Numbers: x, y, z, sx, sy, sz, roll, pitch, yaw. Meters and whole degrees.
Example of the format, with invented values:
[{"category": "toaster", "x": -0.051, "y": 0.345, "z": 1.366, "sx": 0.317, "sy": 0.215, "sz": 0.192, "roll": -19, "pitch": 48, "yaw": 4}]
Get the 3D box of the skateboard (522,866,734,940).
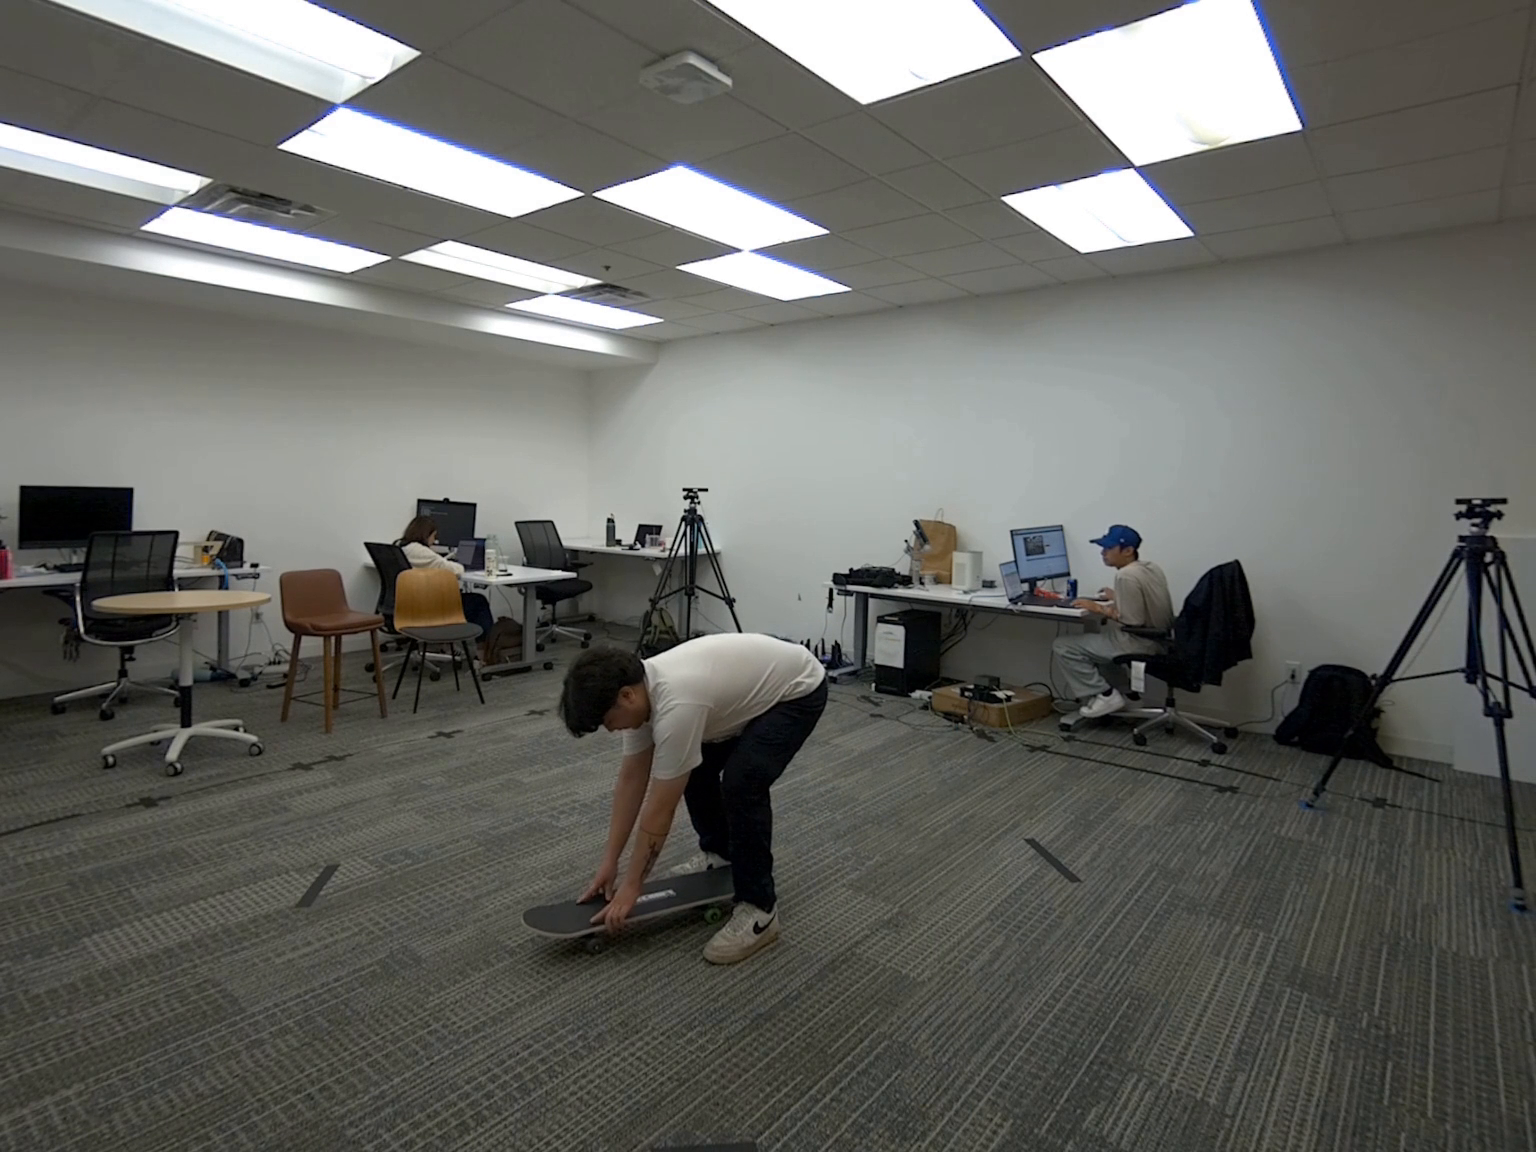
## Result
[{"category": "skateboard", "x": -0.391, "y": 1.051, "z": 2.694, "sx": 0.765, "sy": 0.110, "sz": 0.199, "roll": -2, "pitch": 5, "yaw": -29}]
